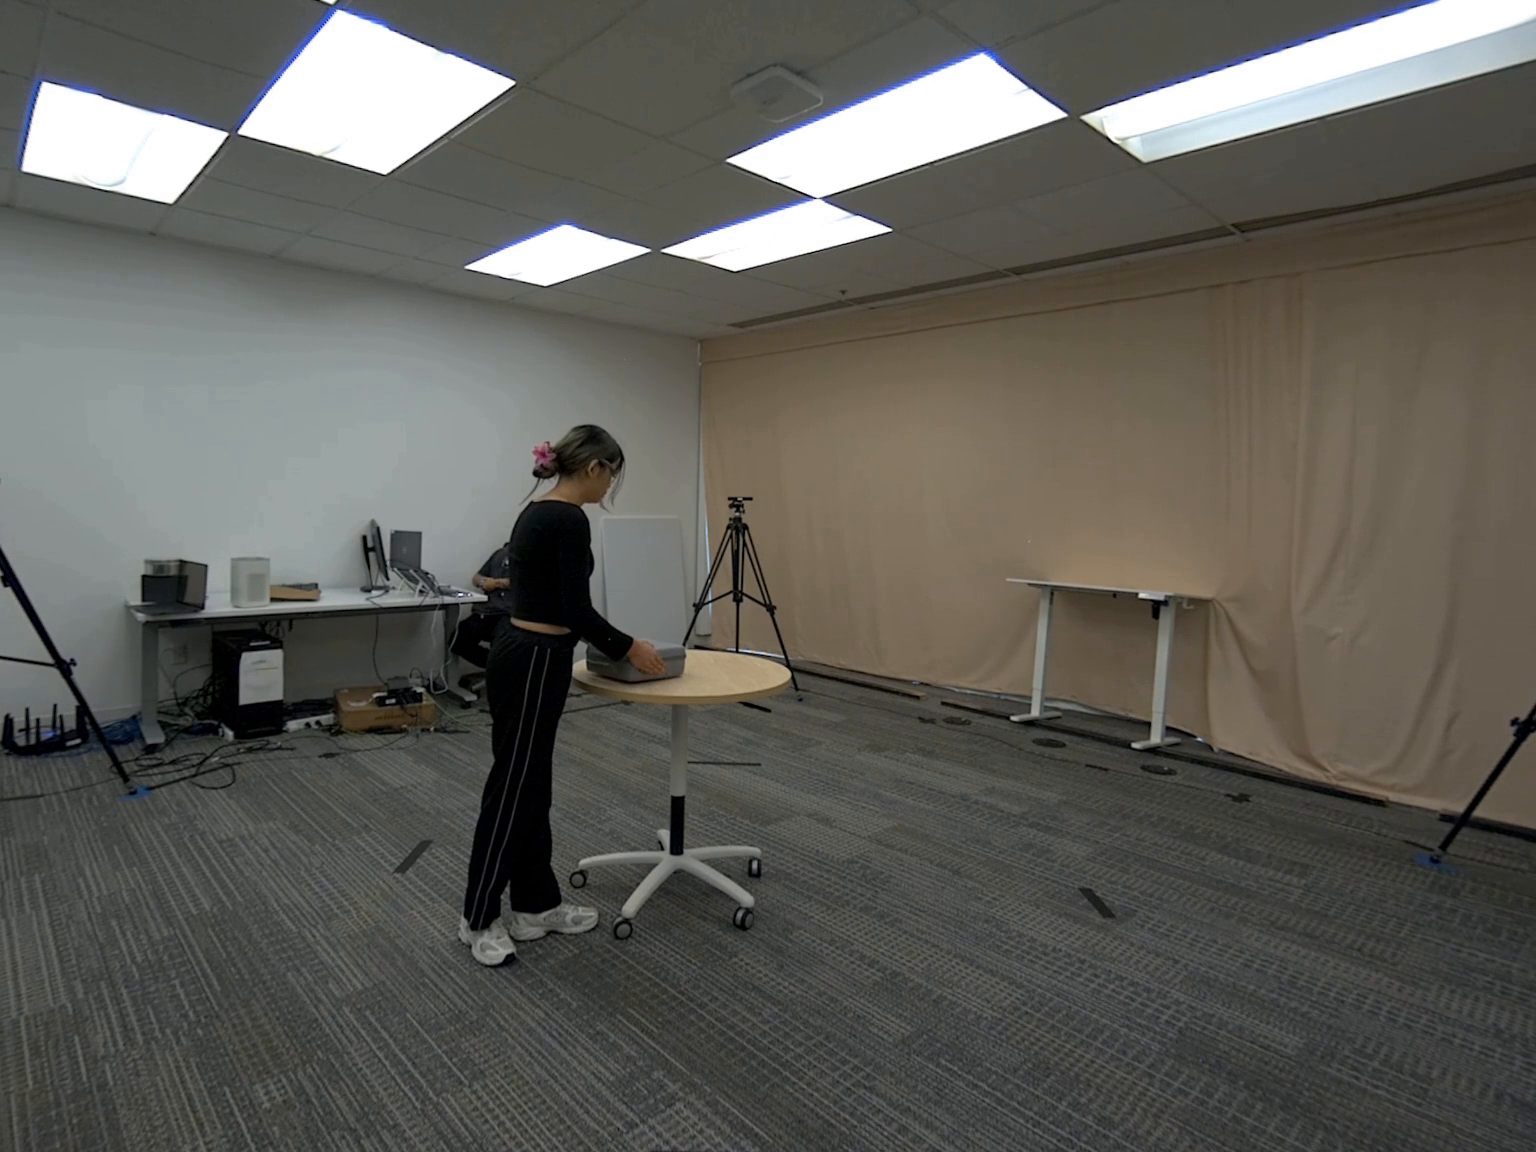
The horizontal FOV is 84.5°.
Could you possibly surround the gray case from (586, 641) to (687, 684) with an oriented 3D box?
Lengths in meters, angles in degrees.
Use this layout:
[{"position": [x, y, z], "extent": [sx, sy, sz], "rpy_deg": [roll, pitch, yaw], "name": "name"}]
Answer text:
[{"position": [-0.453, 0.269, 2.844], "extent": [0.263, 0.104, 0.254], "rpy_deg": [7, 5, 37], "name": "gray case"}]
